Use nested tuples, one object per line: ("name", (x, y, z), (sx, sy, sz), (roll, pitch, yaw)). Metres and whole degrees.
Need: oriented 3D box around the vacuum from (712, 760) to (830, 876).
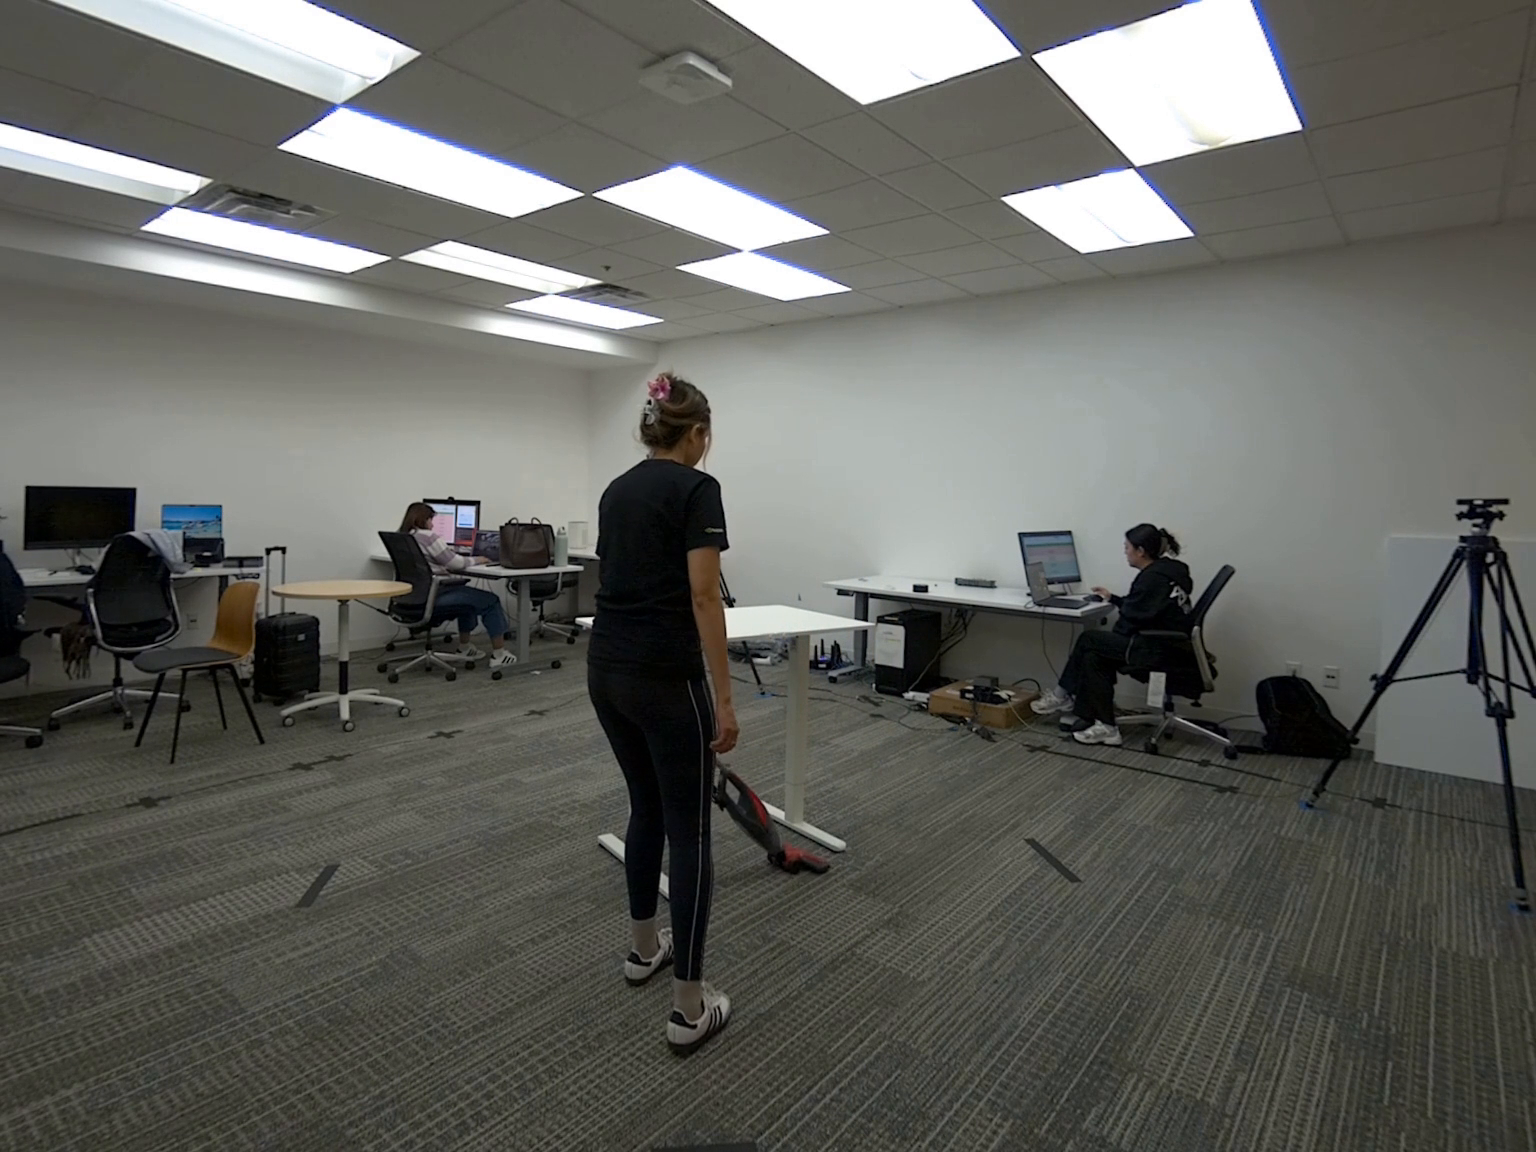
("vacuum", (-0.175, 0.704, 2.916), (0.261, 0.144, 1.011), (1, -42, 47))
